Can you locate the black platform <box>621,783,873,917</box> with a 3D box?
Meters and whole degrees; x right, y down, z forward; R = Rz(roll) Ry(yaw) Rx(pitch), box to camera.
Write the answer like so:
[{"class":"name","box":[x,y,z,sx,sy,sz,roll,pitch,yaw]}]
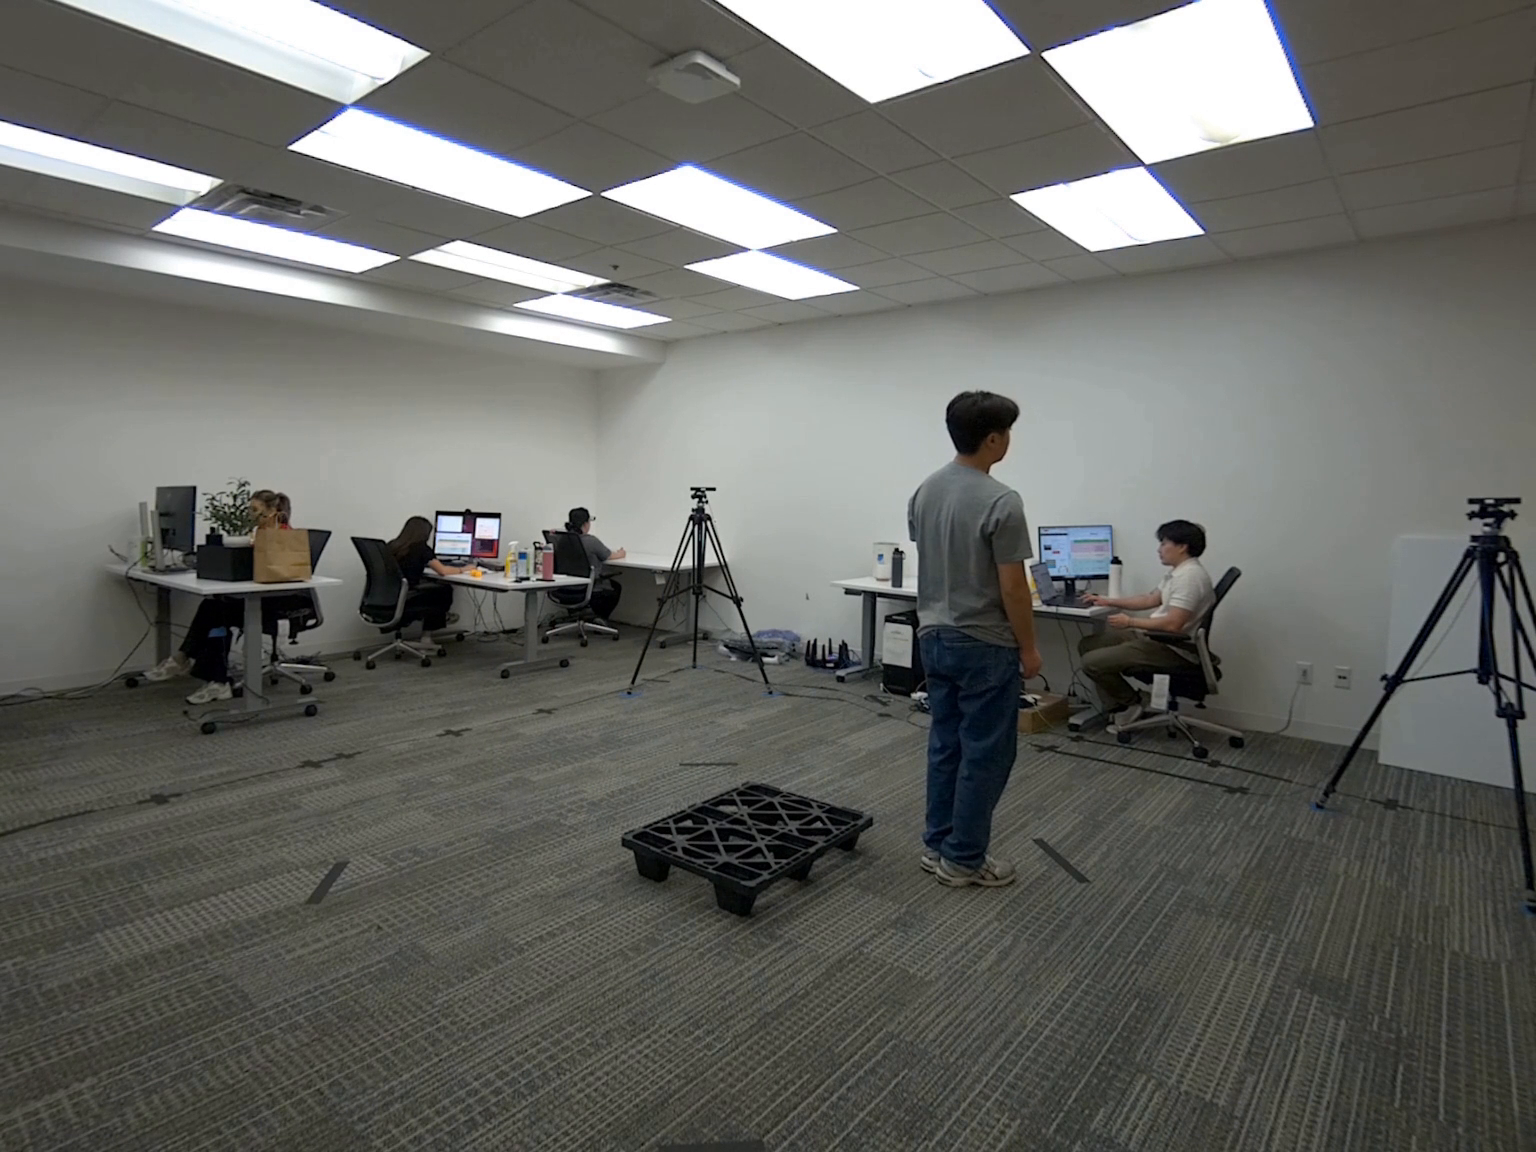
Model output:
[{"class":"black platform","box":[-0.063,0.994,3.179,0.625,0.143,0.782,6,7,37]}]
